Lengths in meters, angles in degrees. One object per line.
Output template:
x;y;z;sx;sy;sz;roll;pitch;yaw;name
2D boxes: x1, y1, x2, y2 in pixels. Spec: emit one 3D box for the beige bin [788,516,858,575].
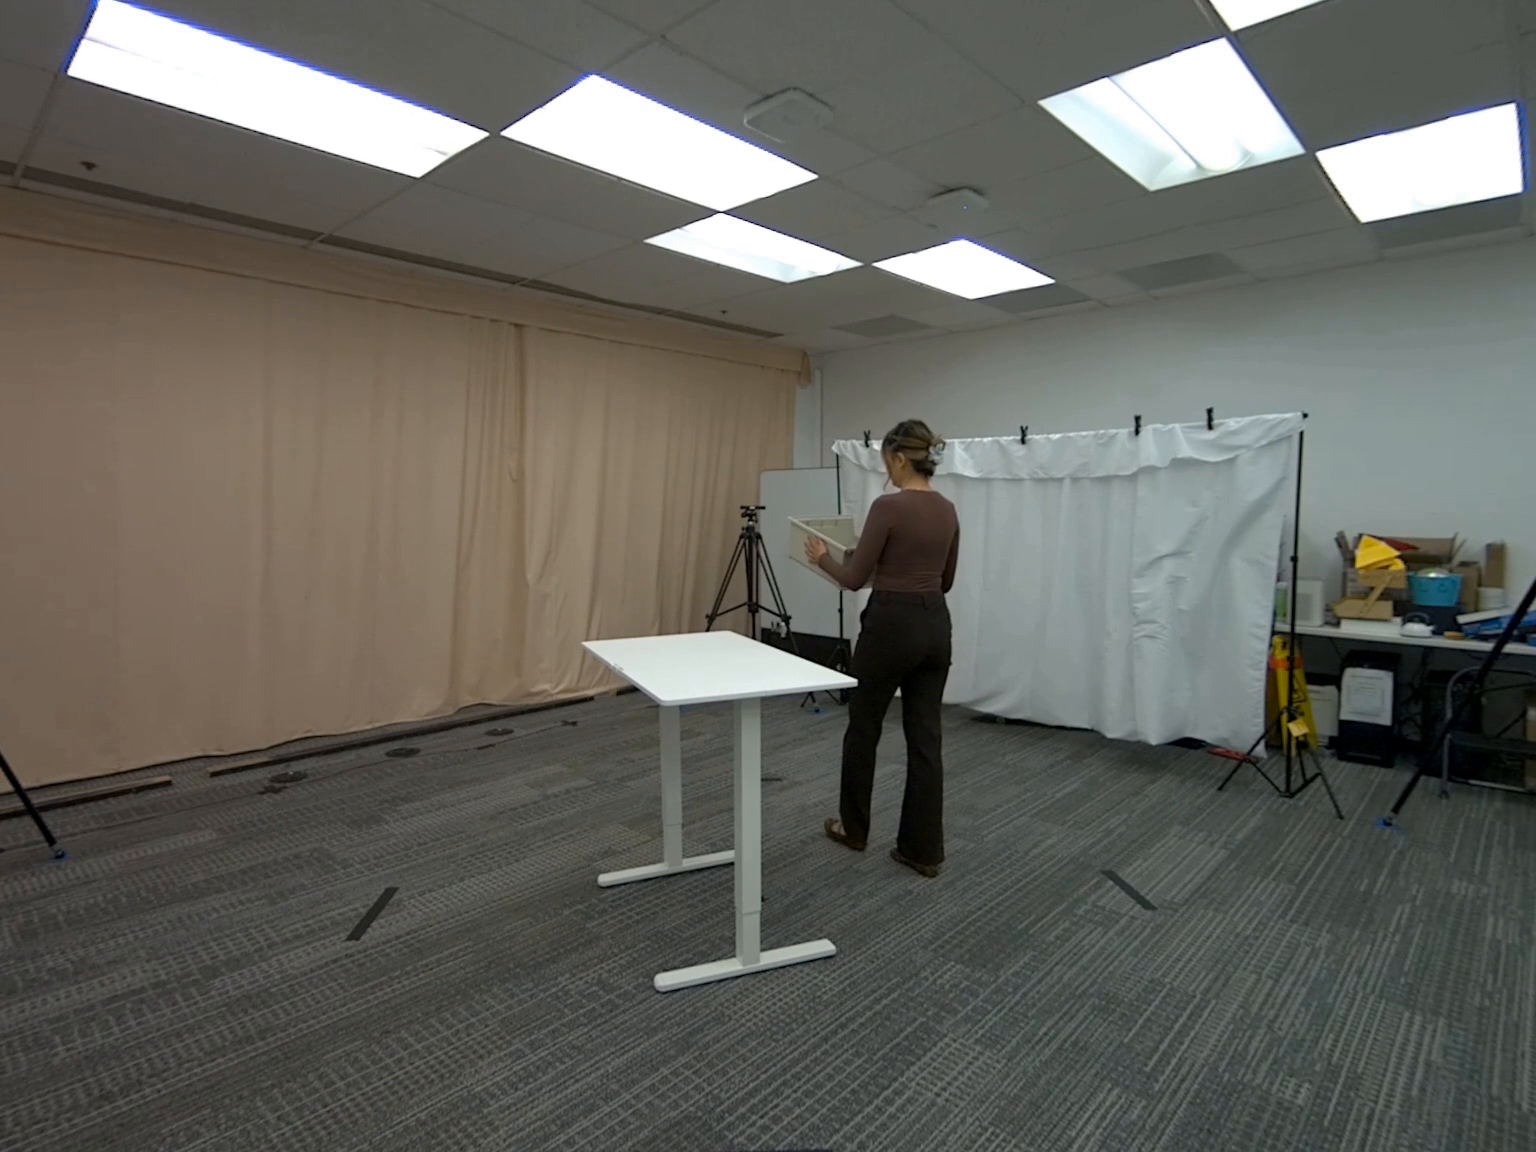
0.347;-0.108;3.564;0.368;0.187;0.437;-5;23;-30;beige bin
